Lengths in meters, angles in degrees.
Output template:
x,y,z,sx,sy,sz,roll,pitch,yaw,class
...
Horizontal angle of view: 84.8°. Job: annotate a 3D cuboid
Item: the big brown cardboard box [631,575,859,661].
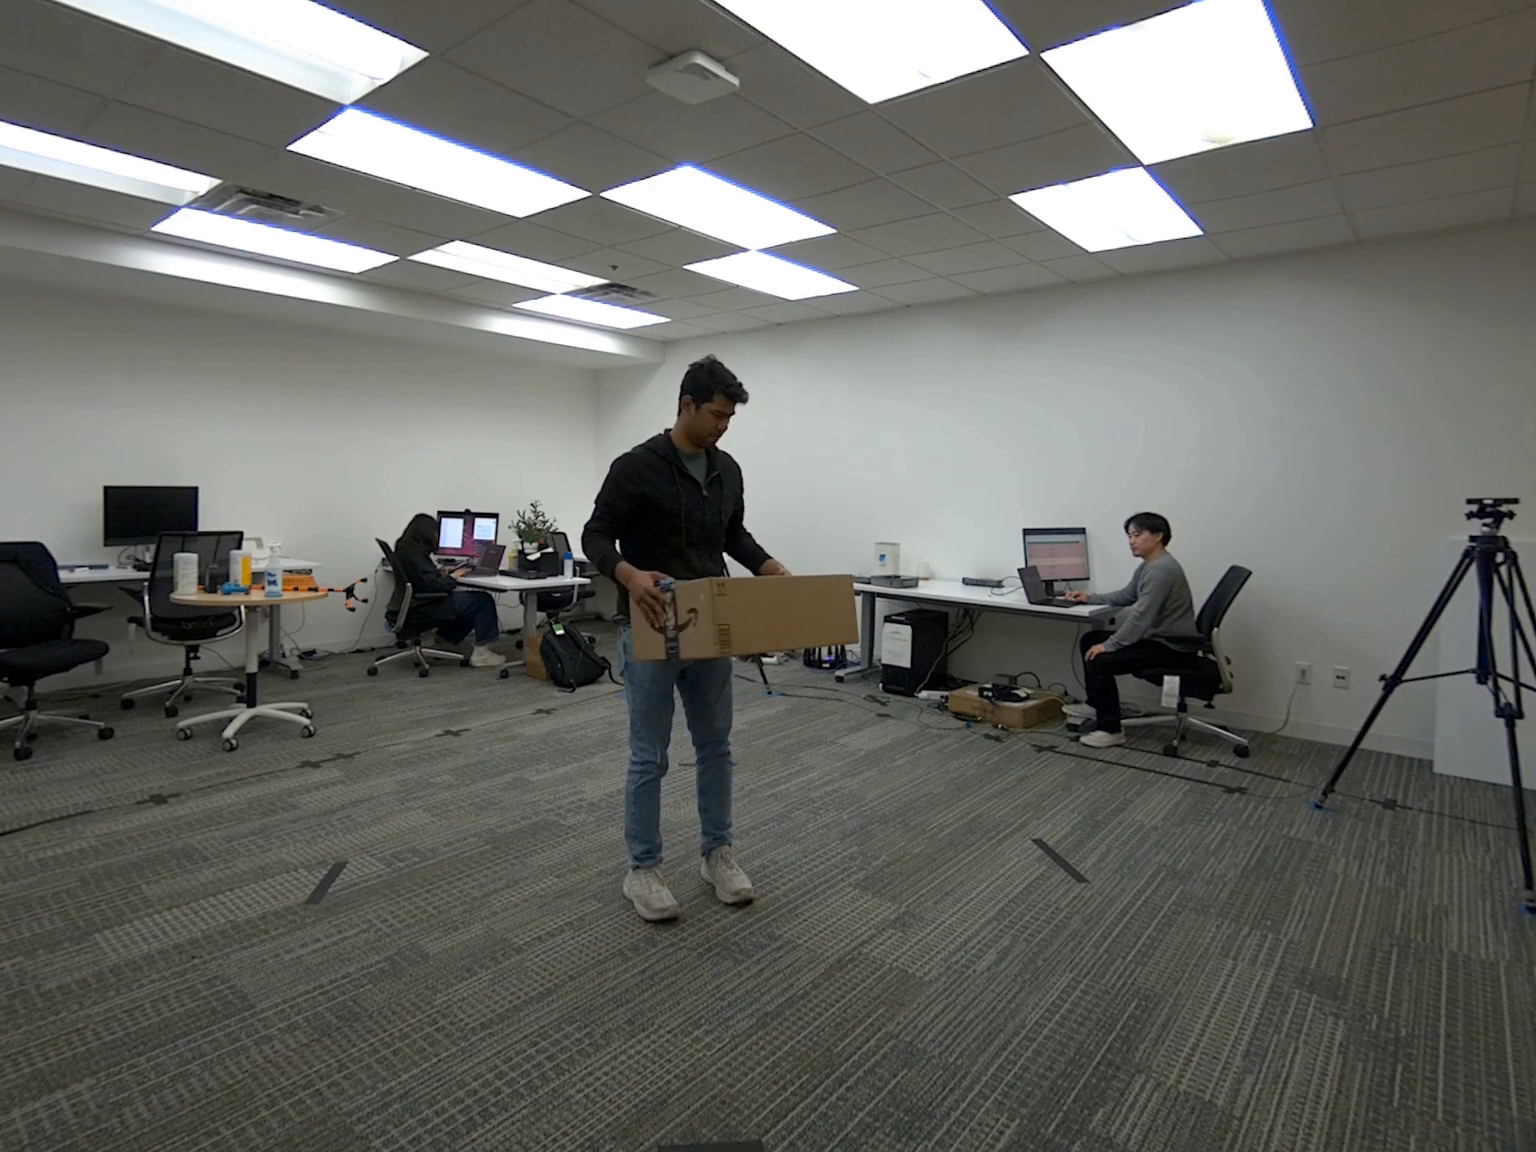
x,y,z,sx,sy,sz,roll,pitch,yaw,class
-0.092,0.121,2.604,0.570,0.235,0.428,1,-6,-41,big brown cardboard box
